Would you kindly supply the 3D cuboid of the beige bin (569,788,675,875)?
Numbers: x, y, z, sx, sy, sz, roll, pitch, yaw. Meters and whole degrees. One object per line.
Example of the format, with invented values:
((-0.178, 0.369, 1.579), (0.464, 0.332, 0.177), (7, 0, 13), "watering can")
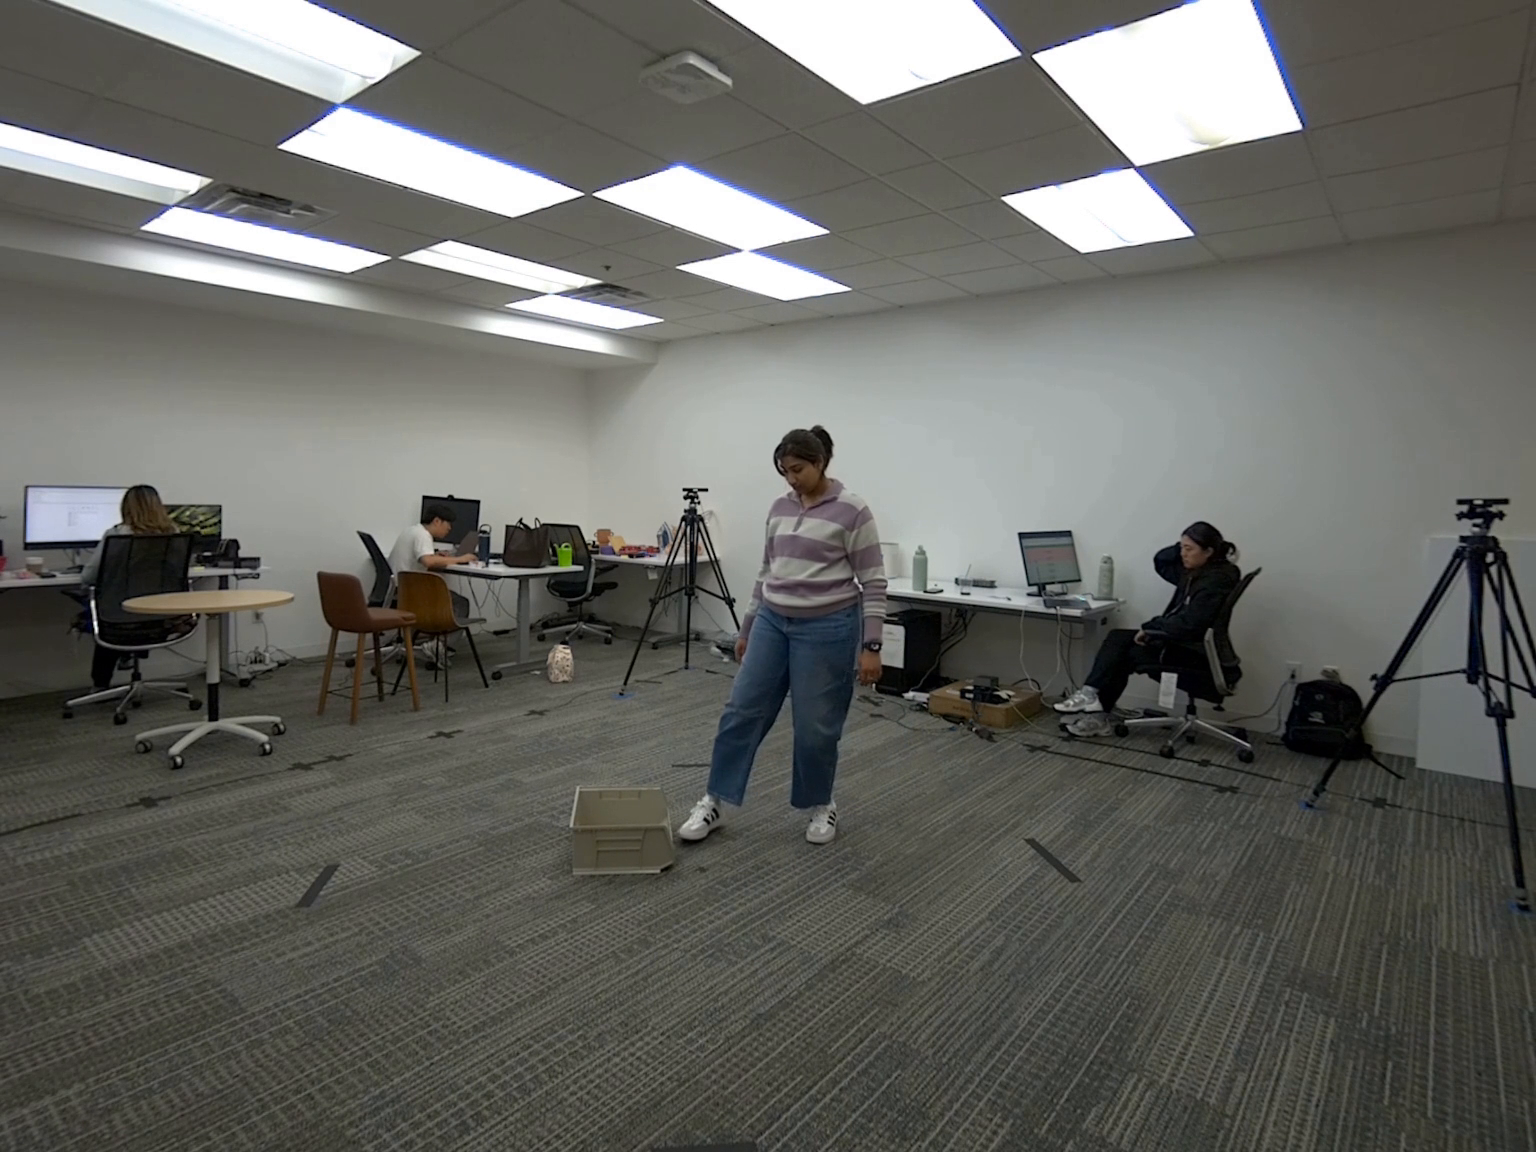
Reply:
((-0.567, 0.962, 3.256), (0.374, 0.188, 0.427), (0, 6, -8), "beige bin")
